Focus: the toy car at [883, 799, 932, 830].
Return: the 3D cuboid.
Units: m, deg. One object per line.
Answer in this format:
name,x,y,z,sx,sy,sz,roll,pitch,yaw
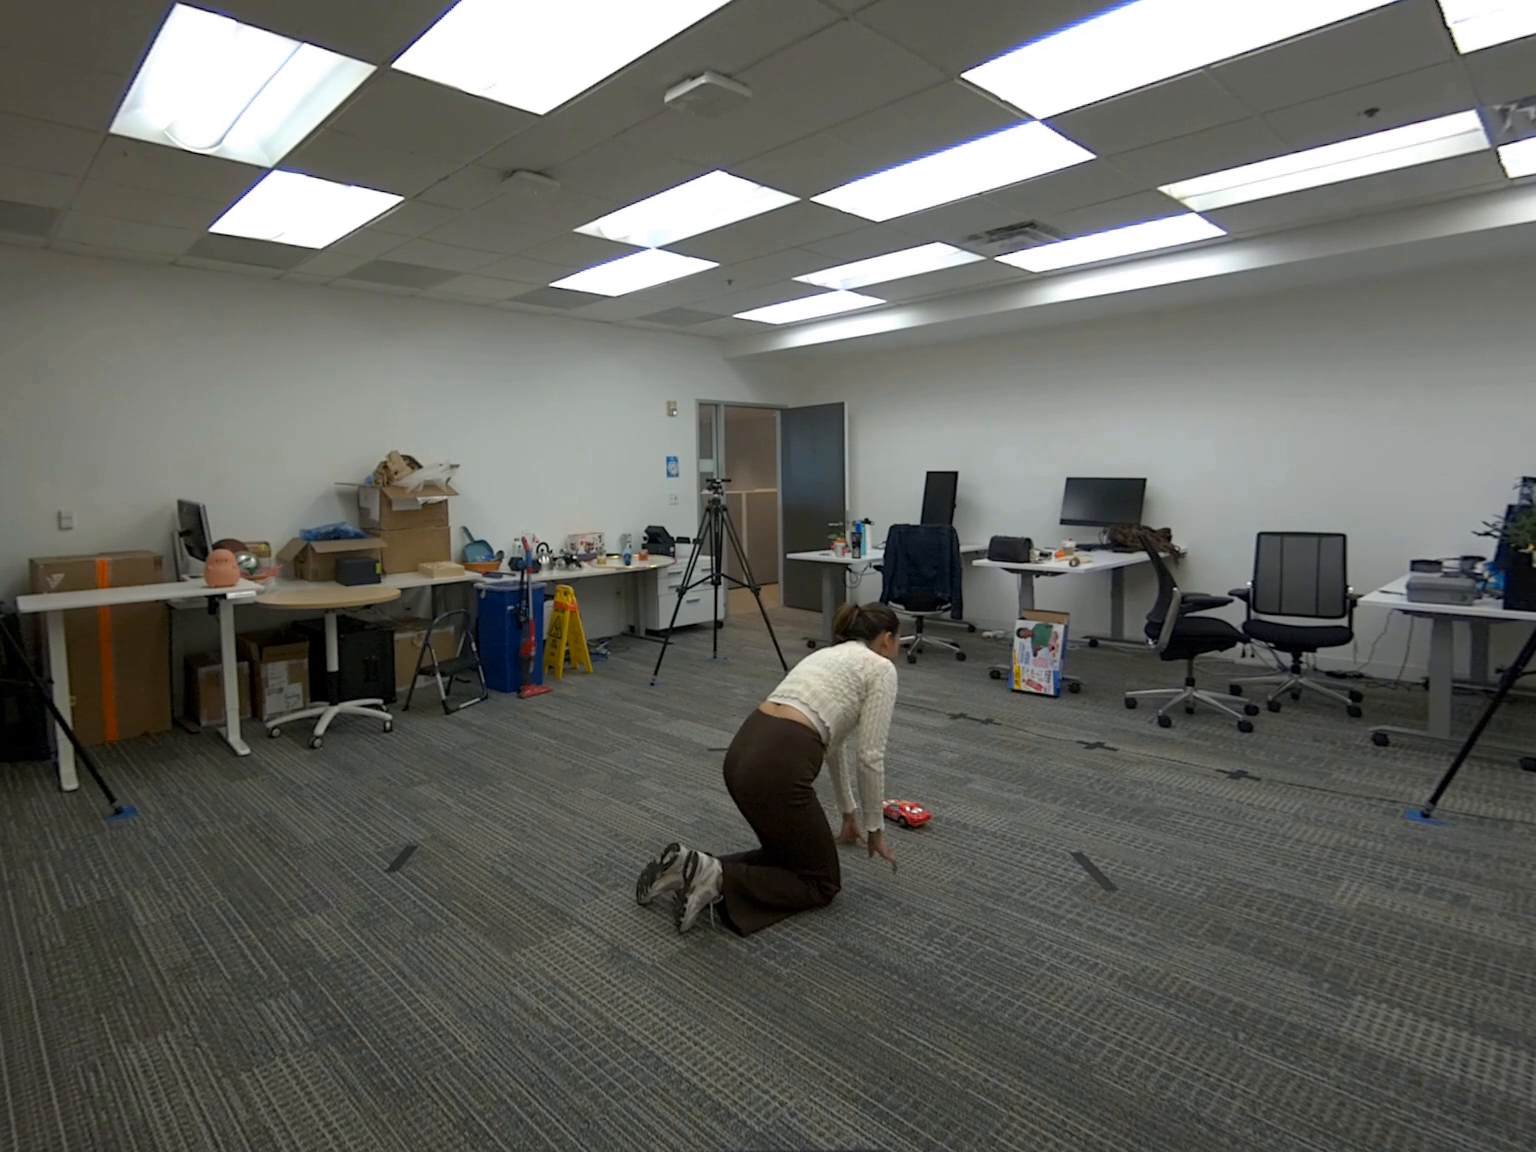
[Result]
toy car,0.552,0.959,3.468,0.127,0.084,0.259,-3,-5,-34
